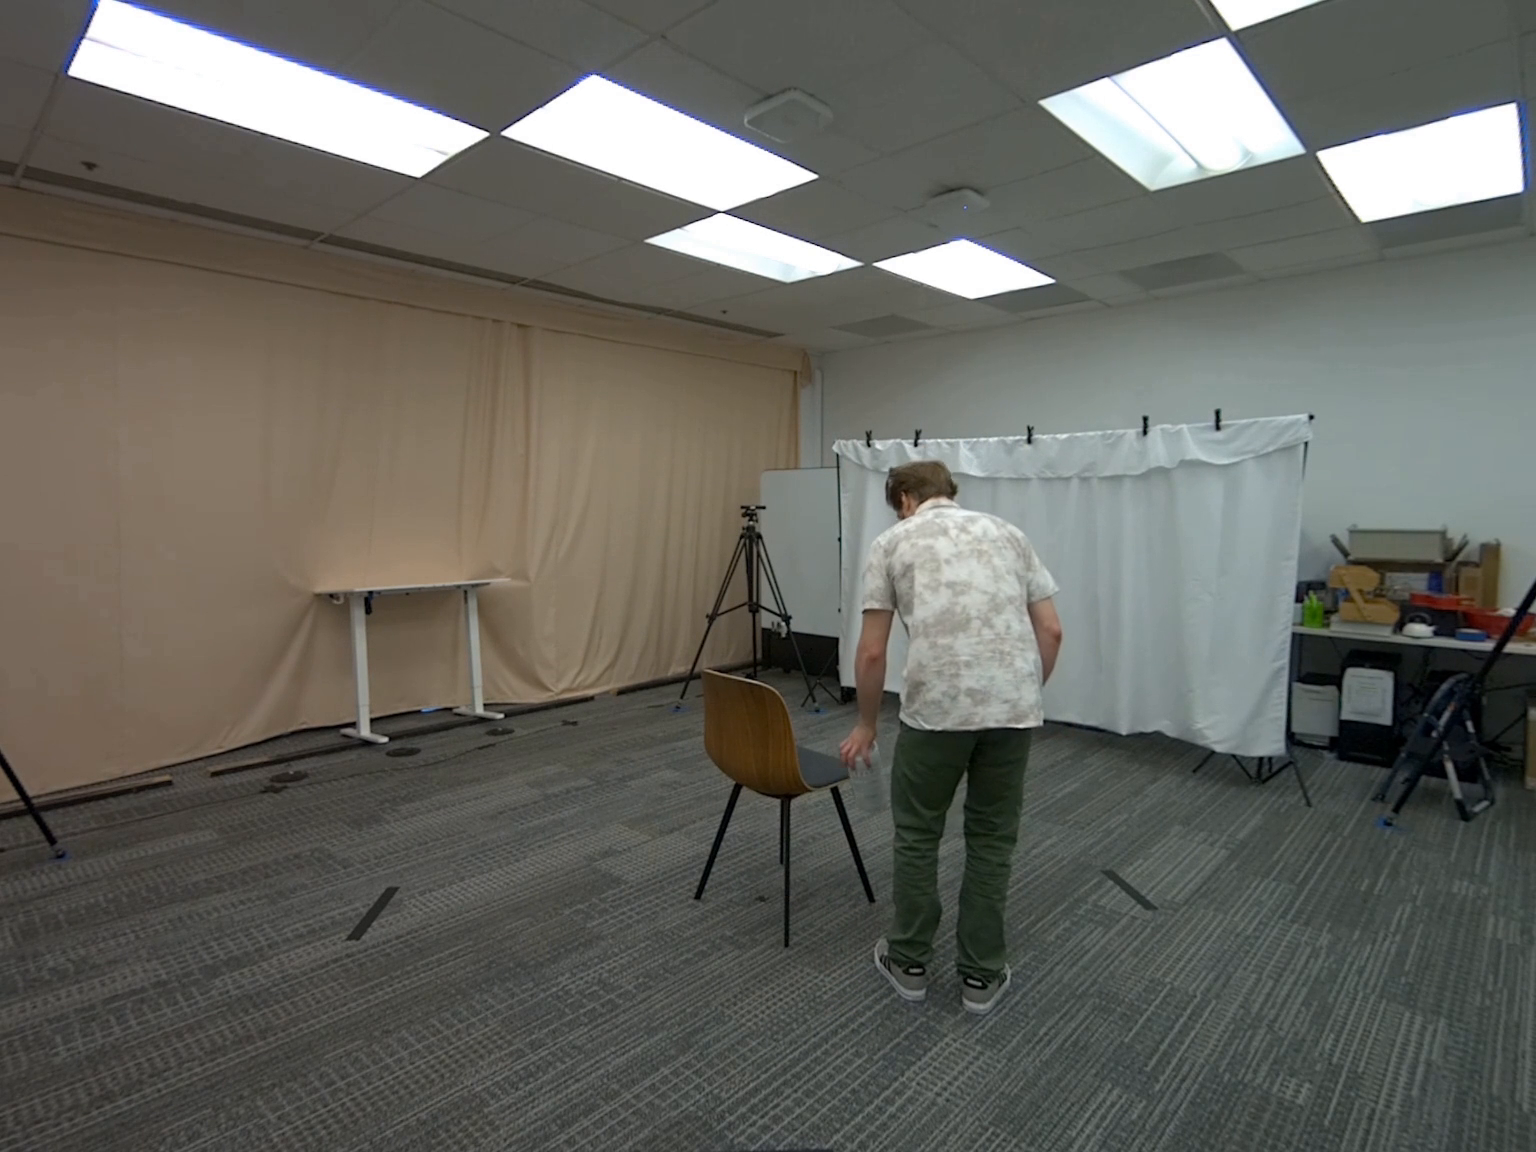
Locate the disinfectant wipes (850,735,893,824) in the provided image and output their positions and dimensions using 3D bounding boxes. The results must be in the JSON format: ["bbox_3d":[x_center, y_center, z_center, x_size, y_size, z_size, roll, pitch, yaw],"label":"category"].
[{"bbox_3d":[0.321,0.629,2.625,0.118,0.214,0.119,-12,20,3],"label":"disinfectant wipes"}]
